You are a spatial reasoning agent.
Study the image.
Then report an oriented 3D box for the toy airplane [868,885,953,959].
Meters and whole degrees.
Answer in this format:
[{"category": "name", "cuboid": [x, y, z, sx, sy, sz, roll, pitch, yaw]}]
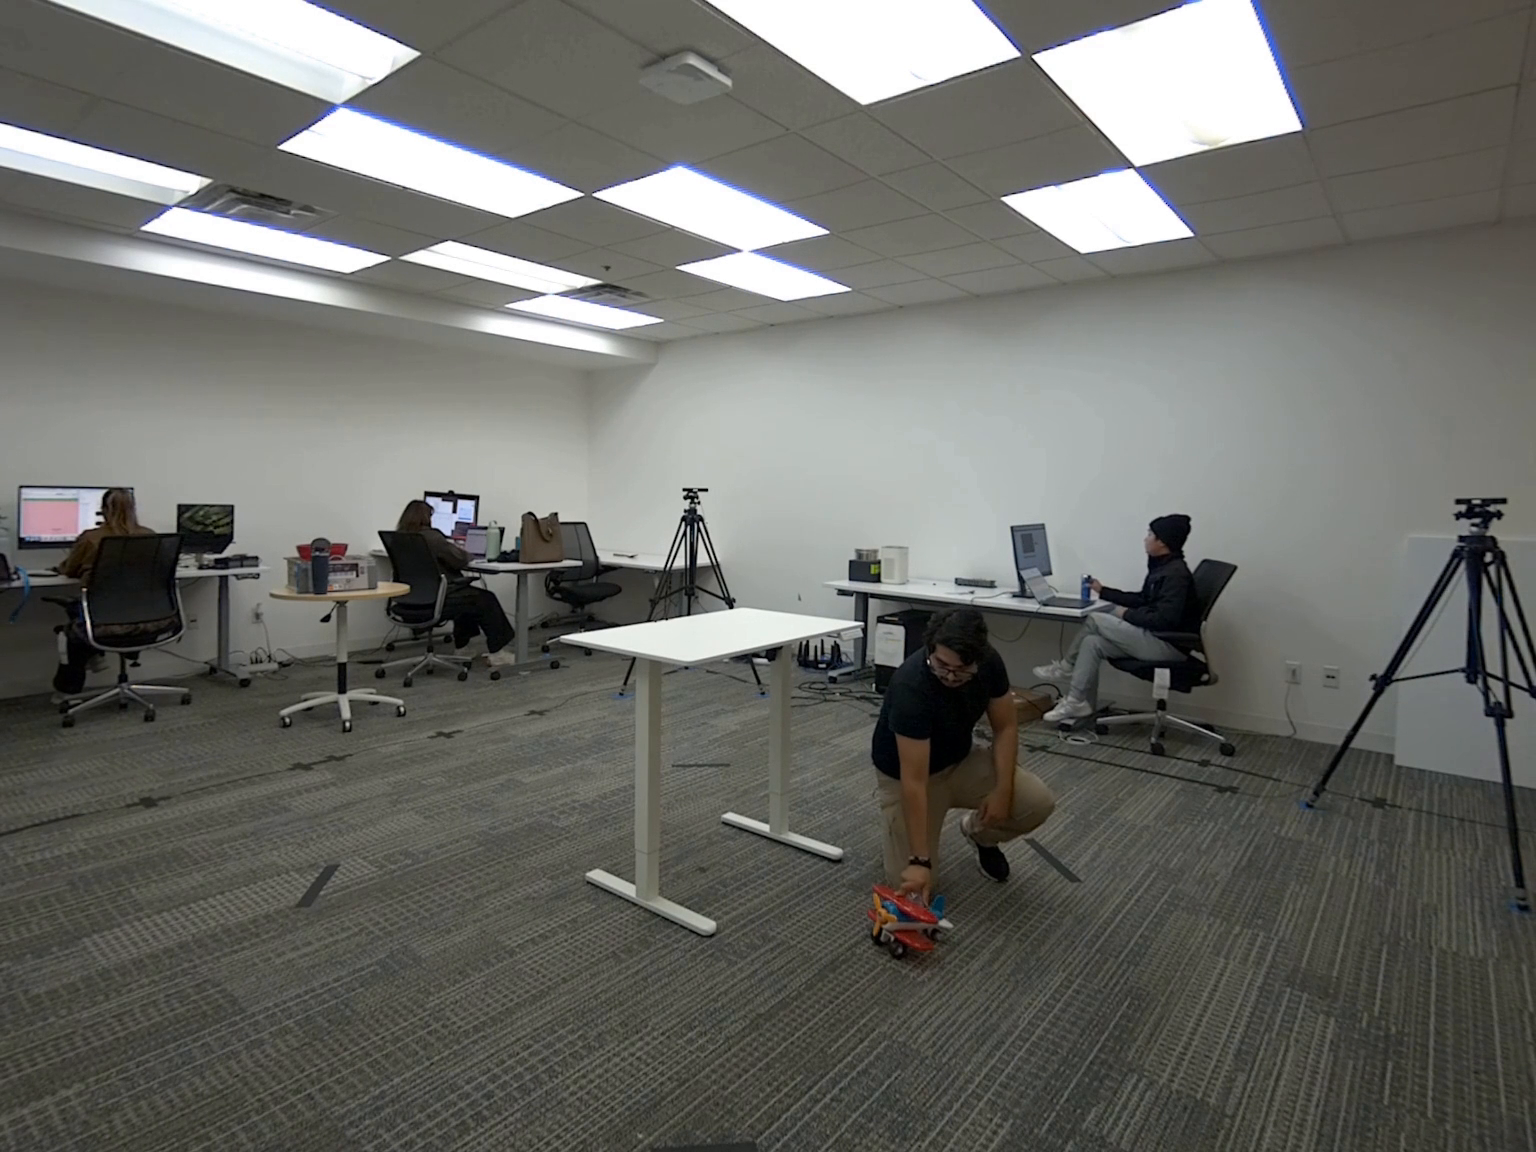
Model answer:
[{"category": "toy airplane", "cuboid": [0.422, 1.052, 2.634, 0.259, 0.156, 0.252, 4, 6, 31]}]
